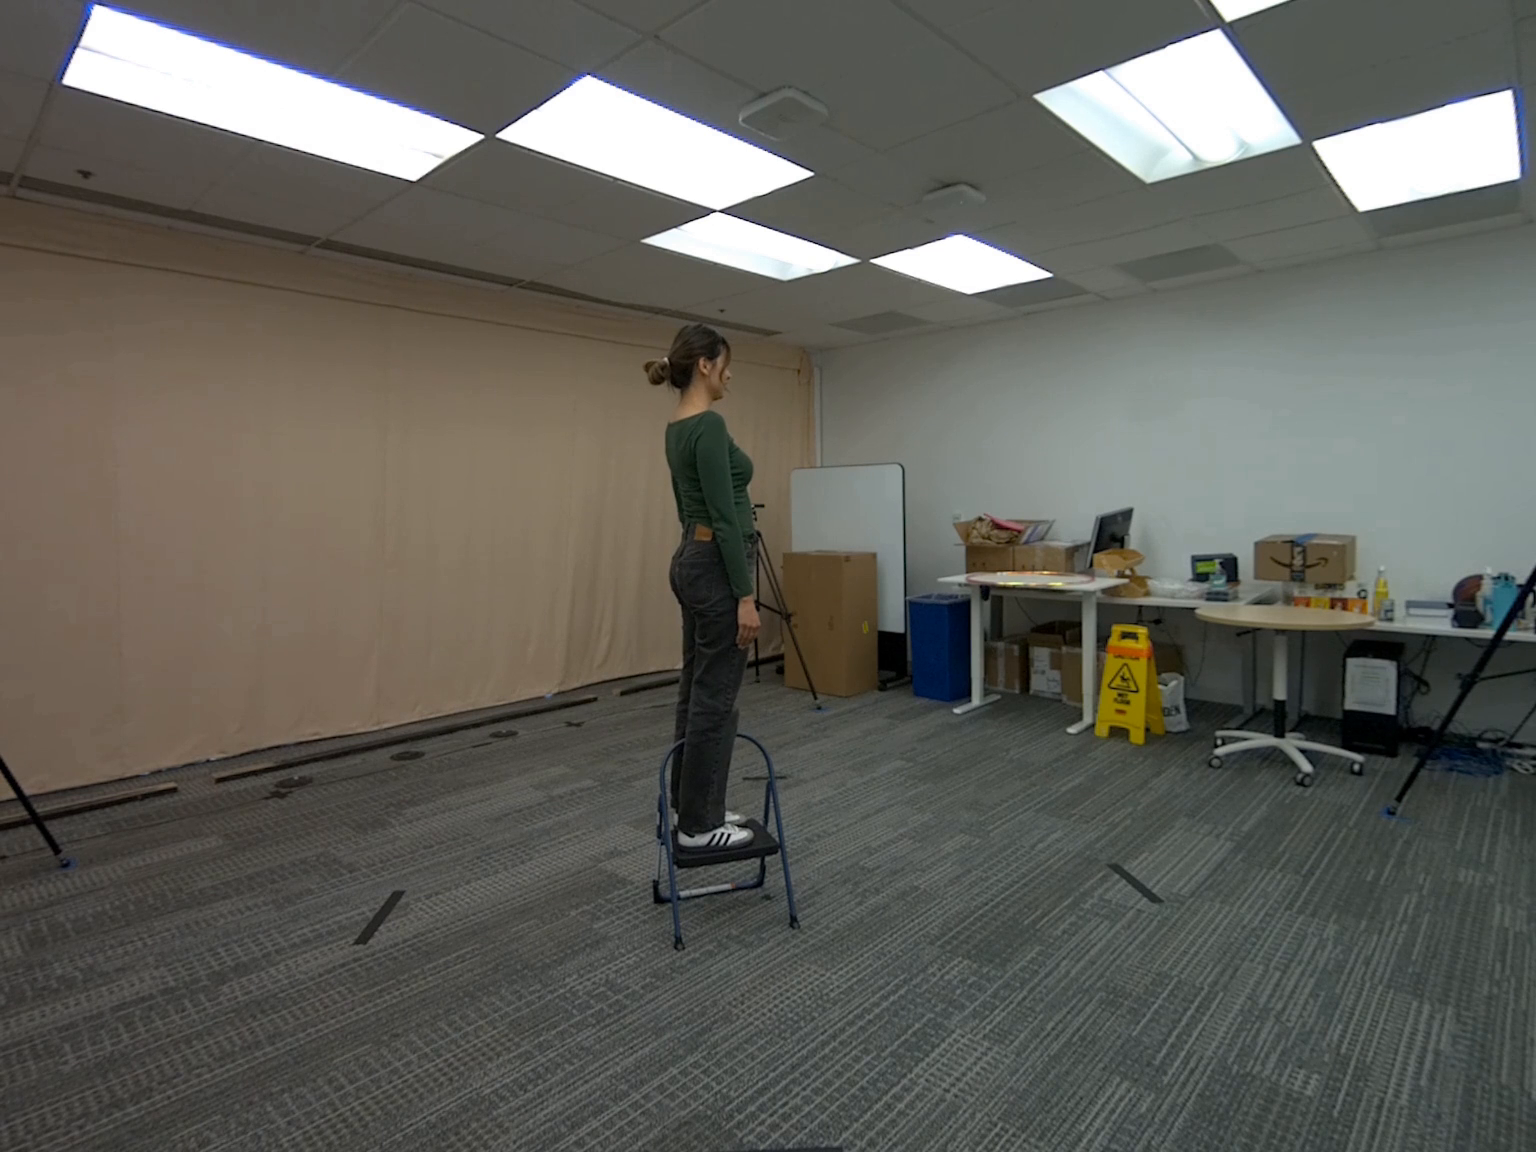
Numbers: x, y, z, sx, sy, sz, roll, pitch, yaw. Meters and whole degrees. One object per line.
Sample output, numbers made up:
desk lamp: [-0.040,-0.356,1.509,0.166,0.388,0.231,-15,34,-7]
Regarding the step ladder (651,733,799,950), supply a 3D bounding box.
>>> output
step ladder: [-0.151,0.852,2.856,0.422,0.605,0.357,-2,3,-19]
